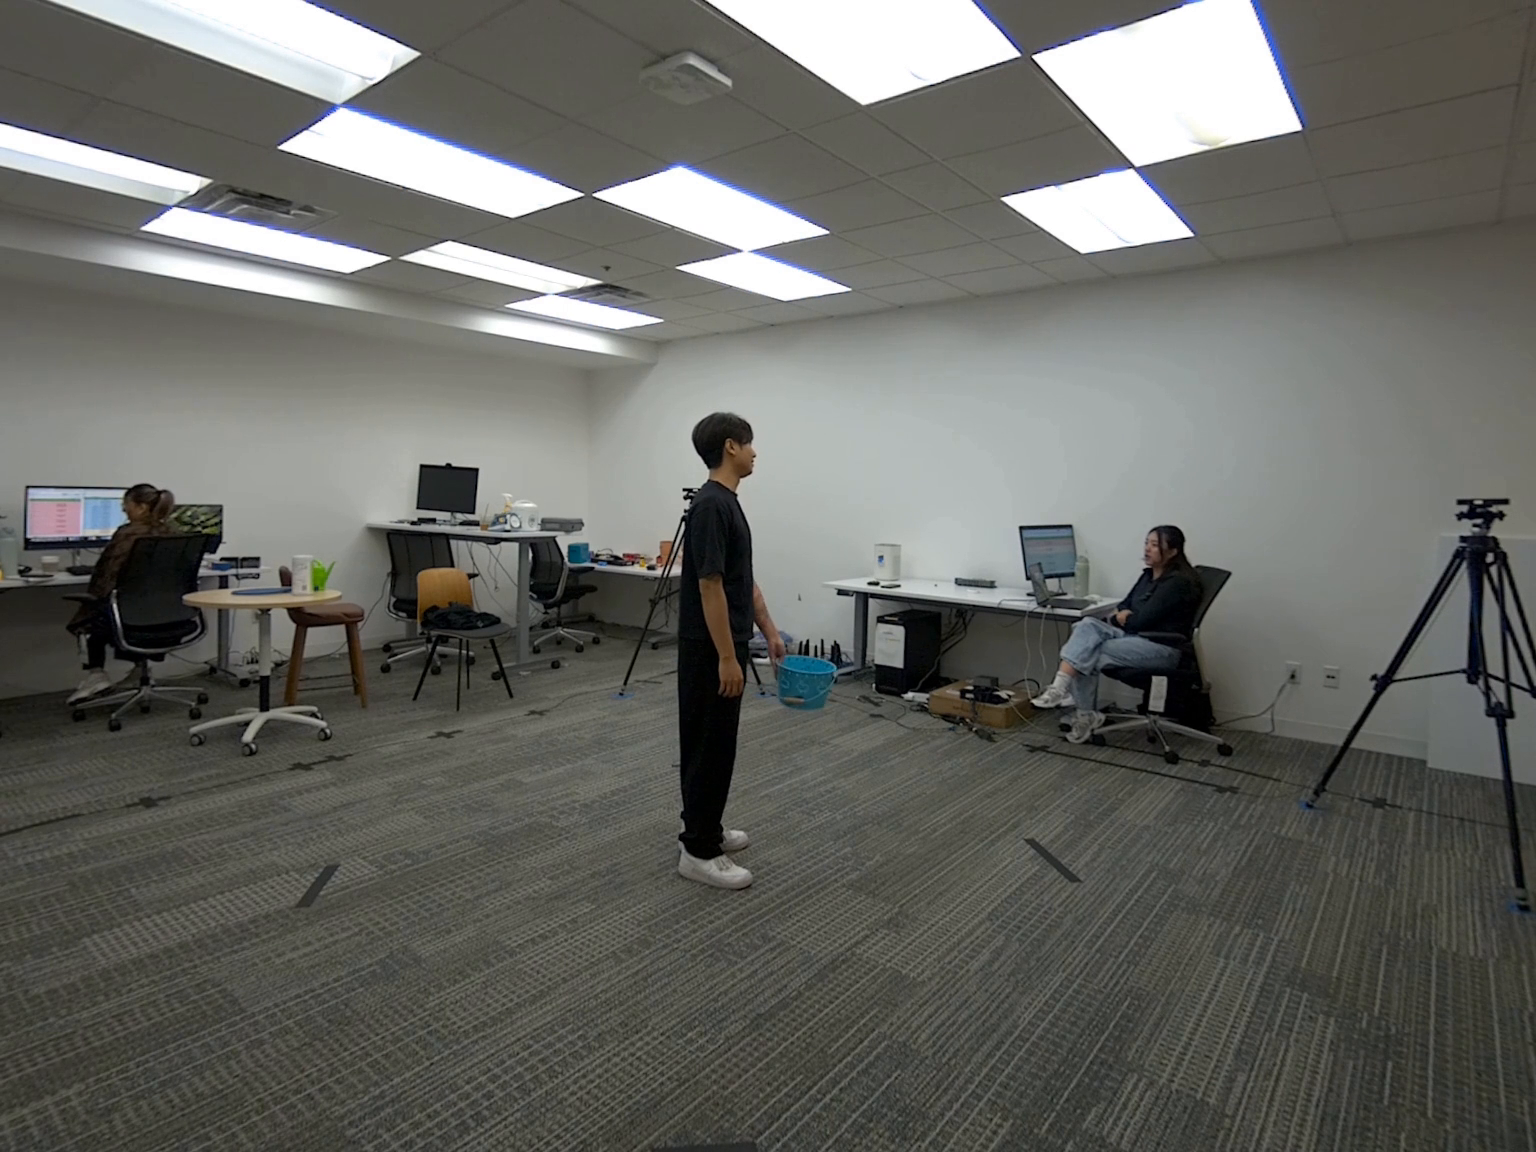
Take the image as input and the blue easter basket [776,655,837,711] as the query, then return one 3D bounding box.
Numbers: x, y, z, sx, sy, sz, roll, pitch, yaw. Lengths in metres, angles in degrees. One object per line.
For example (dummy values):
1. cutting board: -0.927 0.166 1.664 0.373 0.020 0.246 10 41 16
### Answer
1. blue easter basket: 0.117 0.400 3.240 0.243 0.155 0.245 5 7 -2
